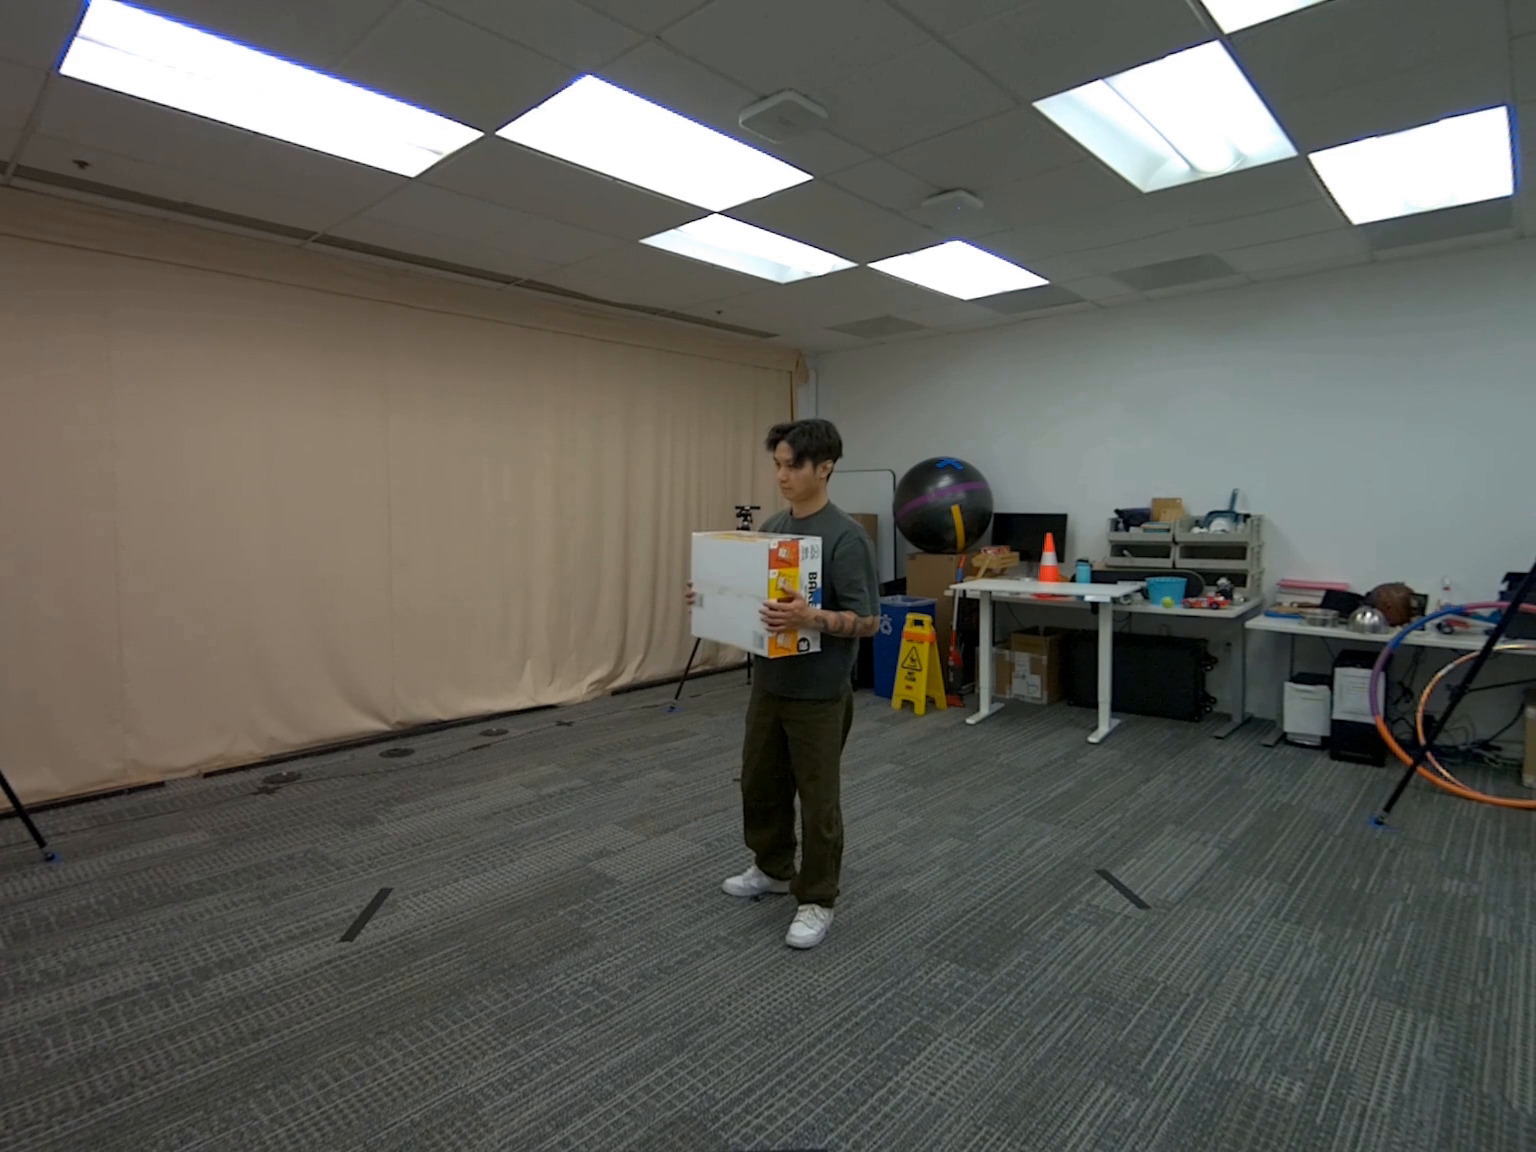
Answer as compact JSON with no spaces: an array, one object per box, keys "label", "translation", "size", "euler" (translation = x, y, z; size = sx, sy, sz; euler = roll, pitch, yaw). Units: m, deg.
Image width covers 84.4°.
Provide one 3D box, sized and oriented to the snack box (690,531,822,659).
[{"label":"snack box","translation":[-0.045,0.044,2.620],"size":[0.199,0.339,0.418],"euler":[-4,7,-38]}]
